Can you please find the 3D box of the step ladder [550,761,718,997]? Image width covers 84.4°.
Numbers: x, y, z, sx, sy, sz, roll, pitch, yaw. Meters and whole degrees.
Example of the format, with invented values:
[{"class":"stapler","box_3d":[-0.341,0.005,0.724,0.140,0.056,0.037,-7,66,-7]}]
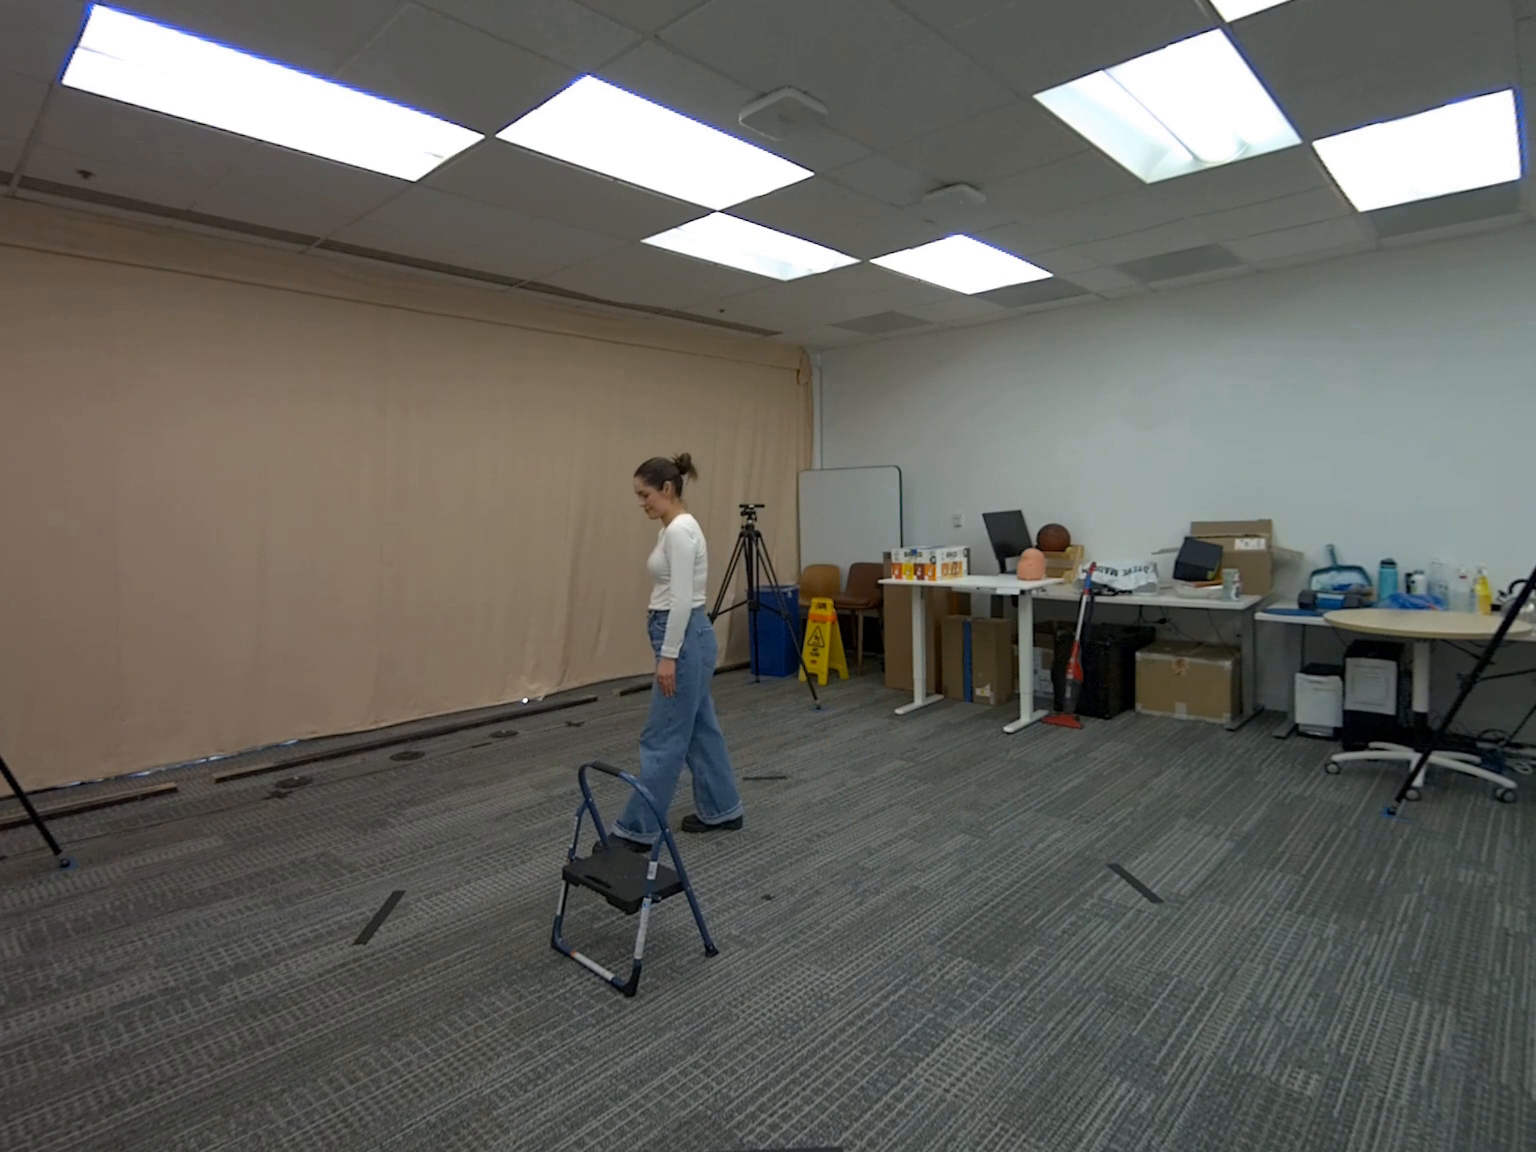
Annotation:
[{"class":"step ladder","box_3d":[-0.430,0.873,2.635,0.445,0.605,0.339,2,5,43]}]
